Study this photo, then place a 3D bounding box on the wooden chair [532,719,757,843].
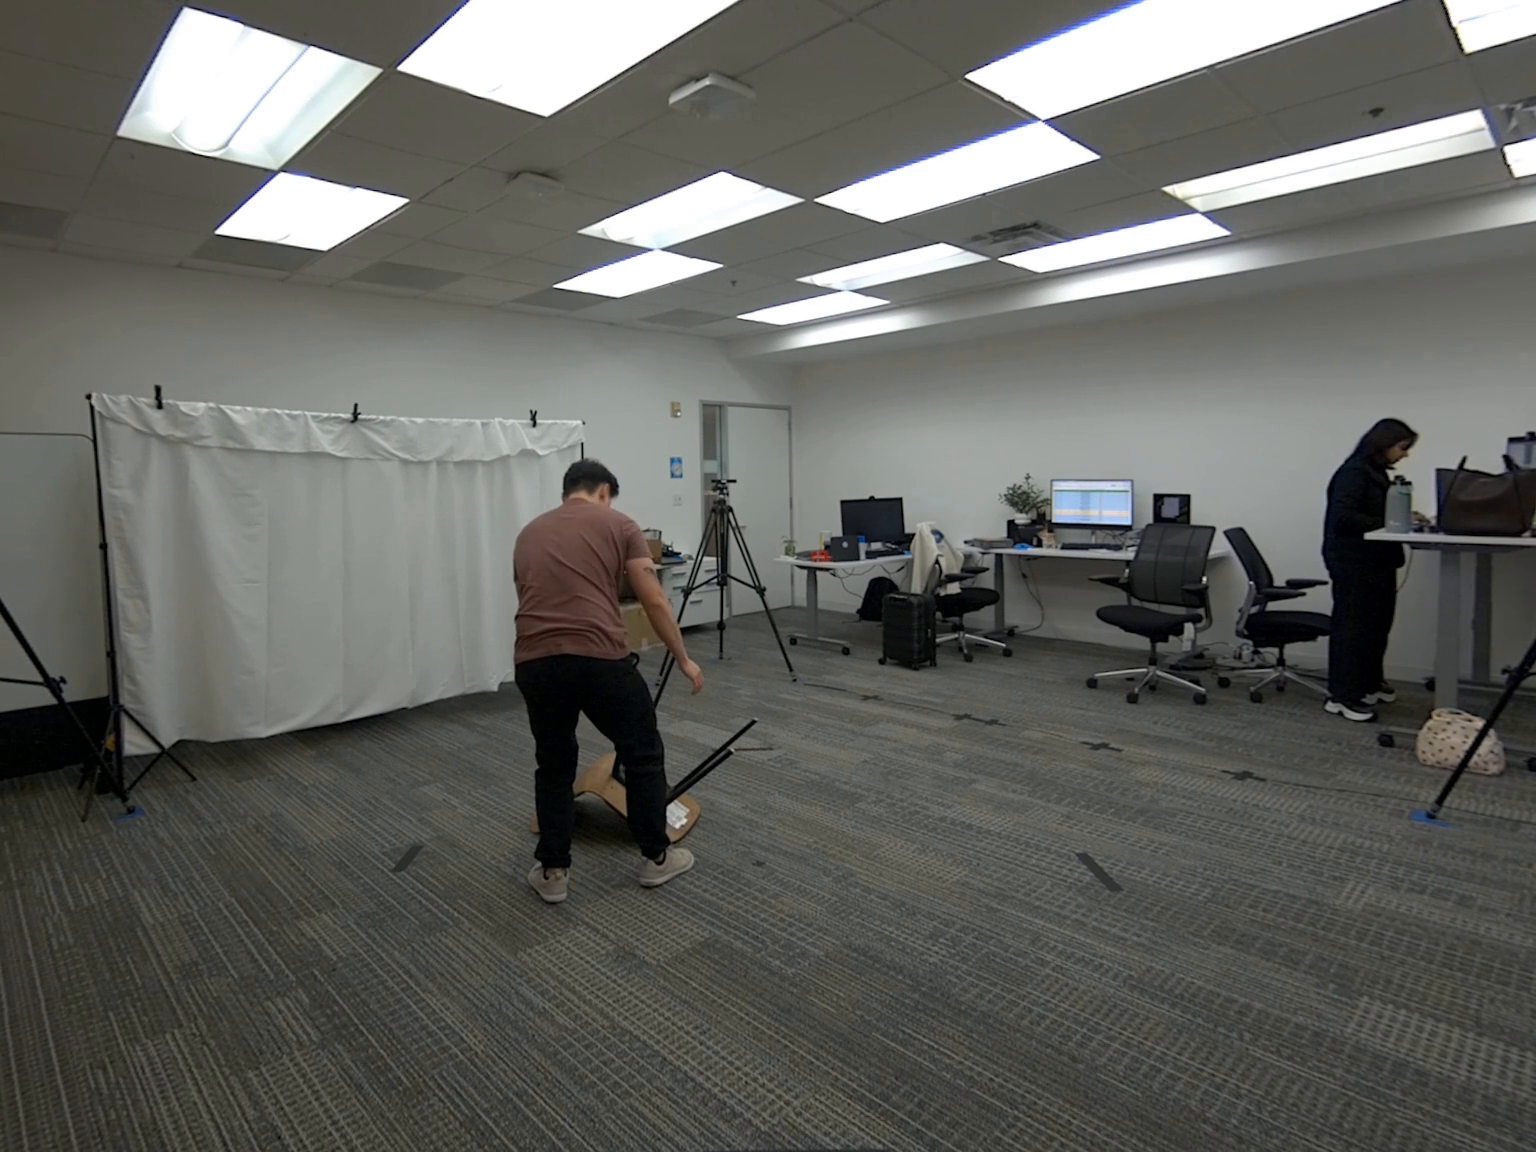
[{"bbox_3d":[-0.501,0.845,3.487,0.529,0.876,0.474,40,11,6],"label":"wooden chair"}]
